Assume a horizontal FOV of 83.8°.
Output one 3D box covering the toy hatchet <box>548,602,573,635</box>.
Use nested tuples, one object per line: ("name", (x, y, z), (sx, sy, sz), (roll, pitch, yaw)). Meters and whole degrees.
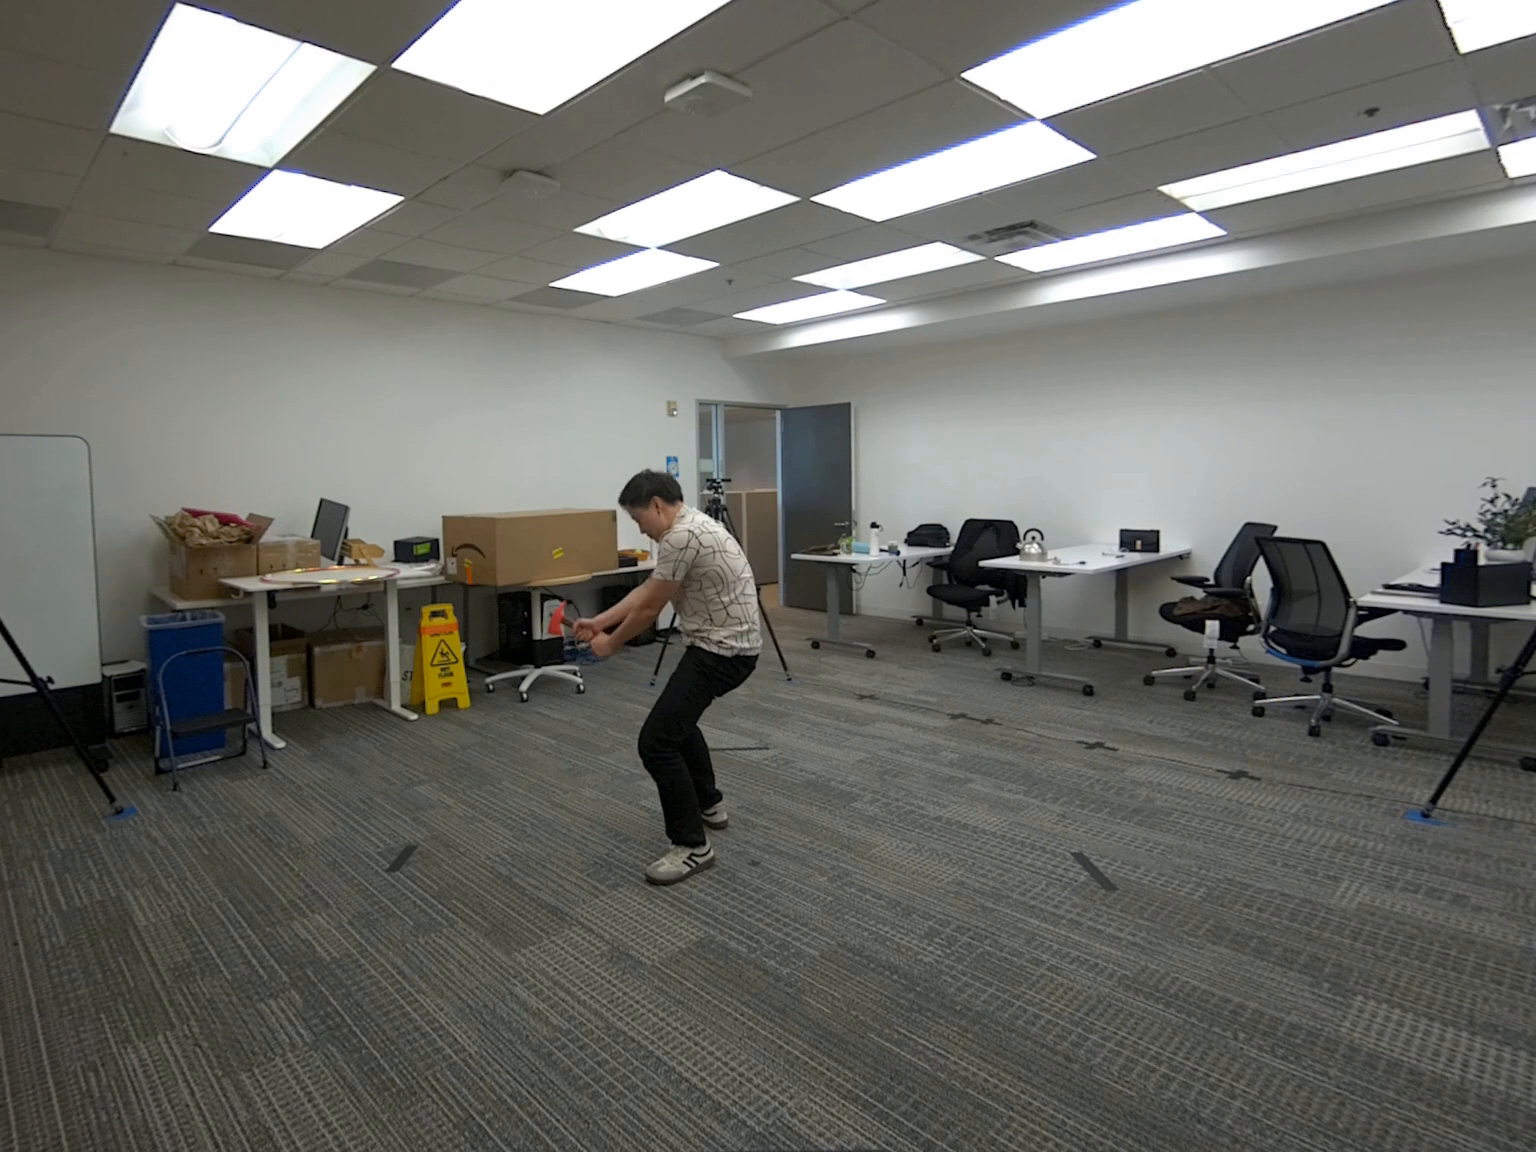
("toy hatchet", (-0.723, 0.237, 3.294), (0.272, 0.131, 0.029), (43, 3, 6))
